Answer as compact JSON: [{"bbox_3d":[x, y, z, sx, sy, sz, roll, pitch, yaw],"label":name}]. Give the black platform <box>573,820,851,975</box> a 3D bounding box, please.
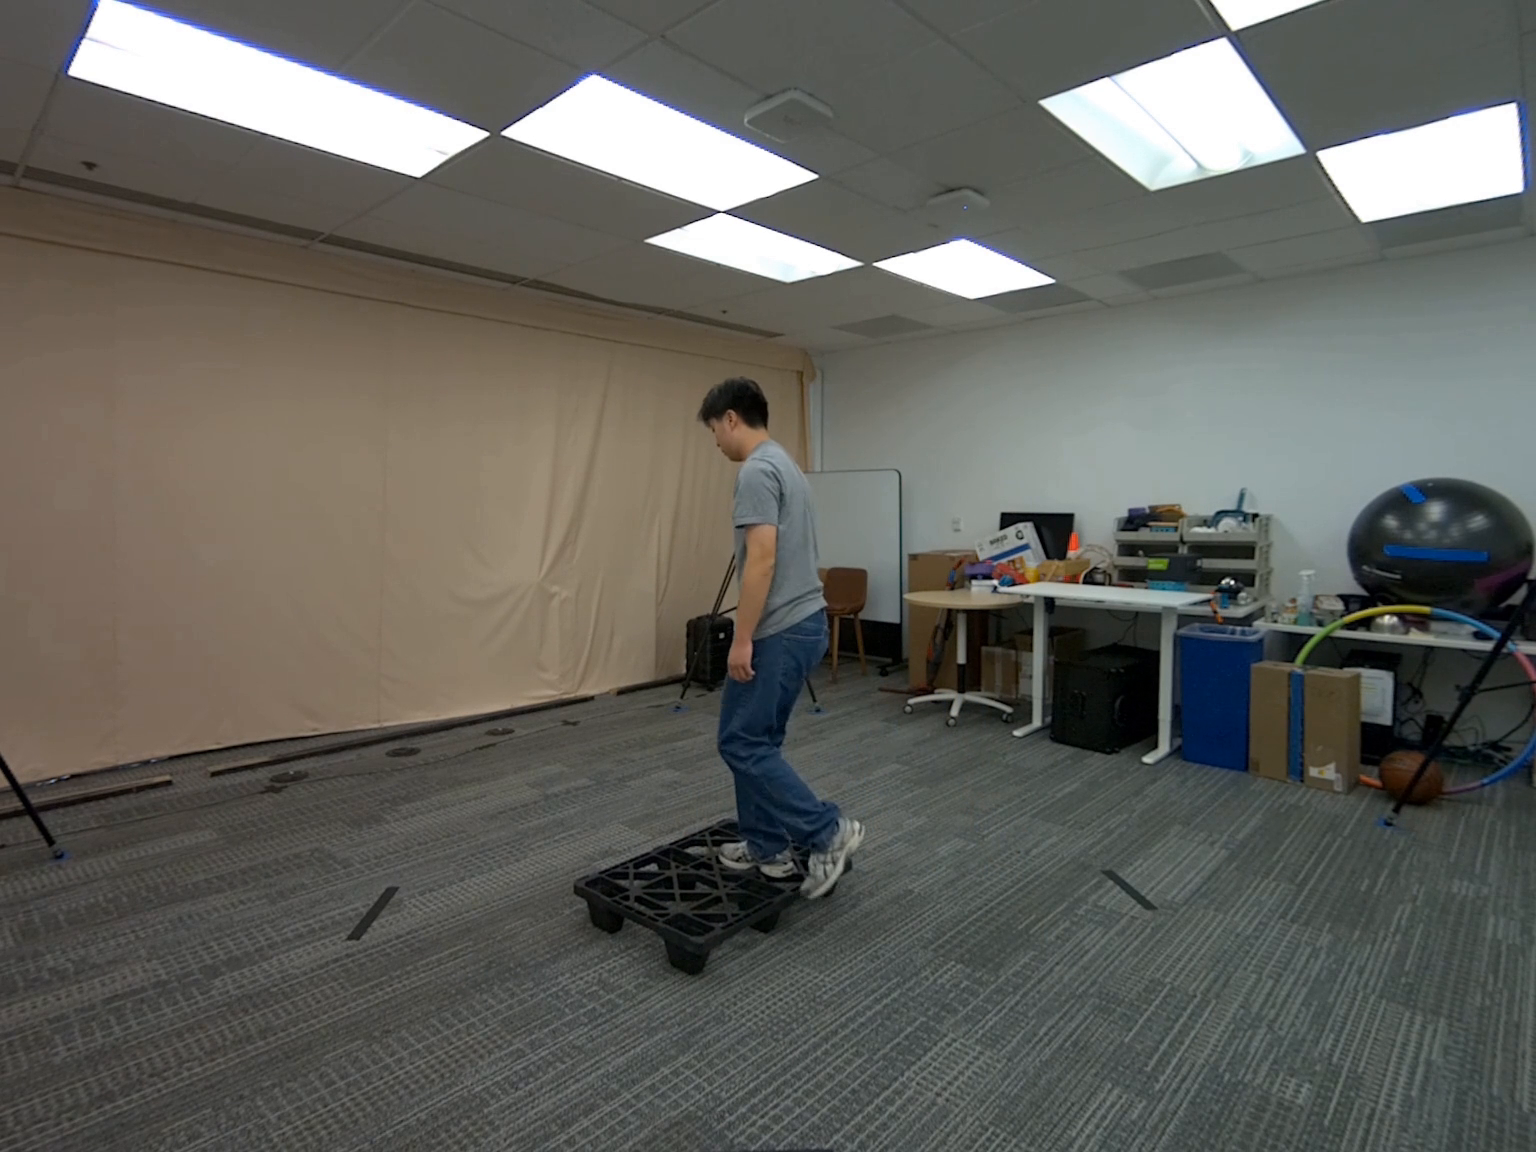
[{"bbox_3d":[-0.178,1.084,2.911,0.625,0.143,0.781,3,6,40],"label":"black platform"}]
